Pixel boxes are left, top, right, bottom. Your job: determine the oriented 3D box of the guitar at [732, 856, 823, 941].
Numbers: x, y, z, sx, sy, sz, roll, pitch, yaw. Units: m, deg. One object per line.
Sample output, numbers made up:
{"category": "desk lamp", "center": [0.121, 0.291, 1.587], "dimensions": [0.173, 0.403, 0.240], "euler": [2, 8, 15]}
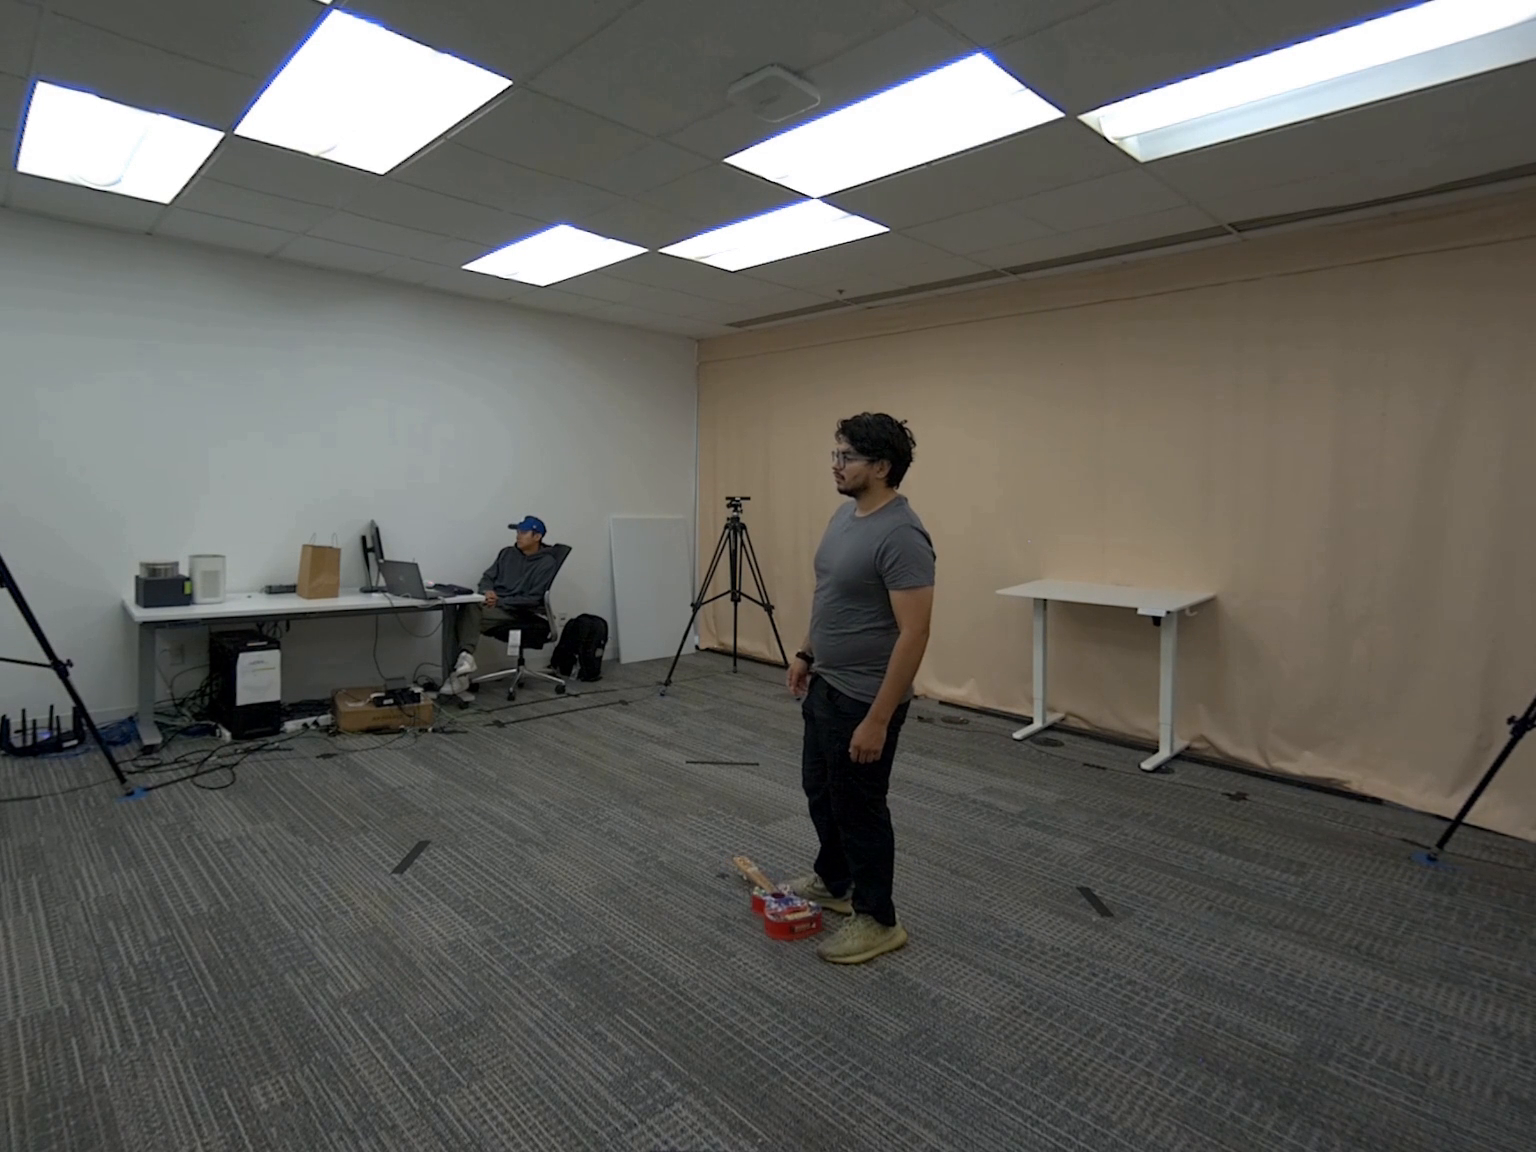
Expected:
{"category": "guitar", "center": [0.016, 1.093, 2.904], "dimensions": [0.191, 0.070, 0.505], "euler": [-2, 6, -17]}
